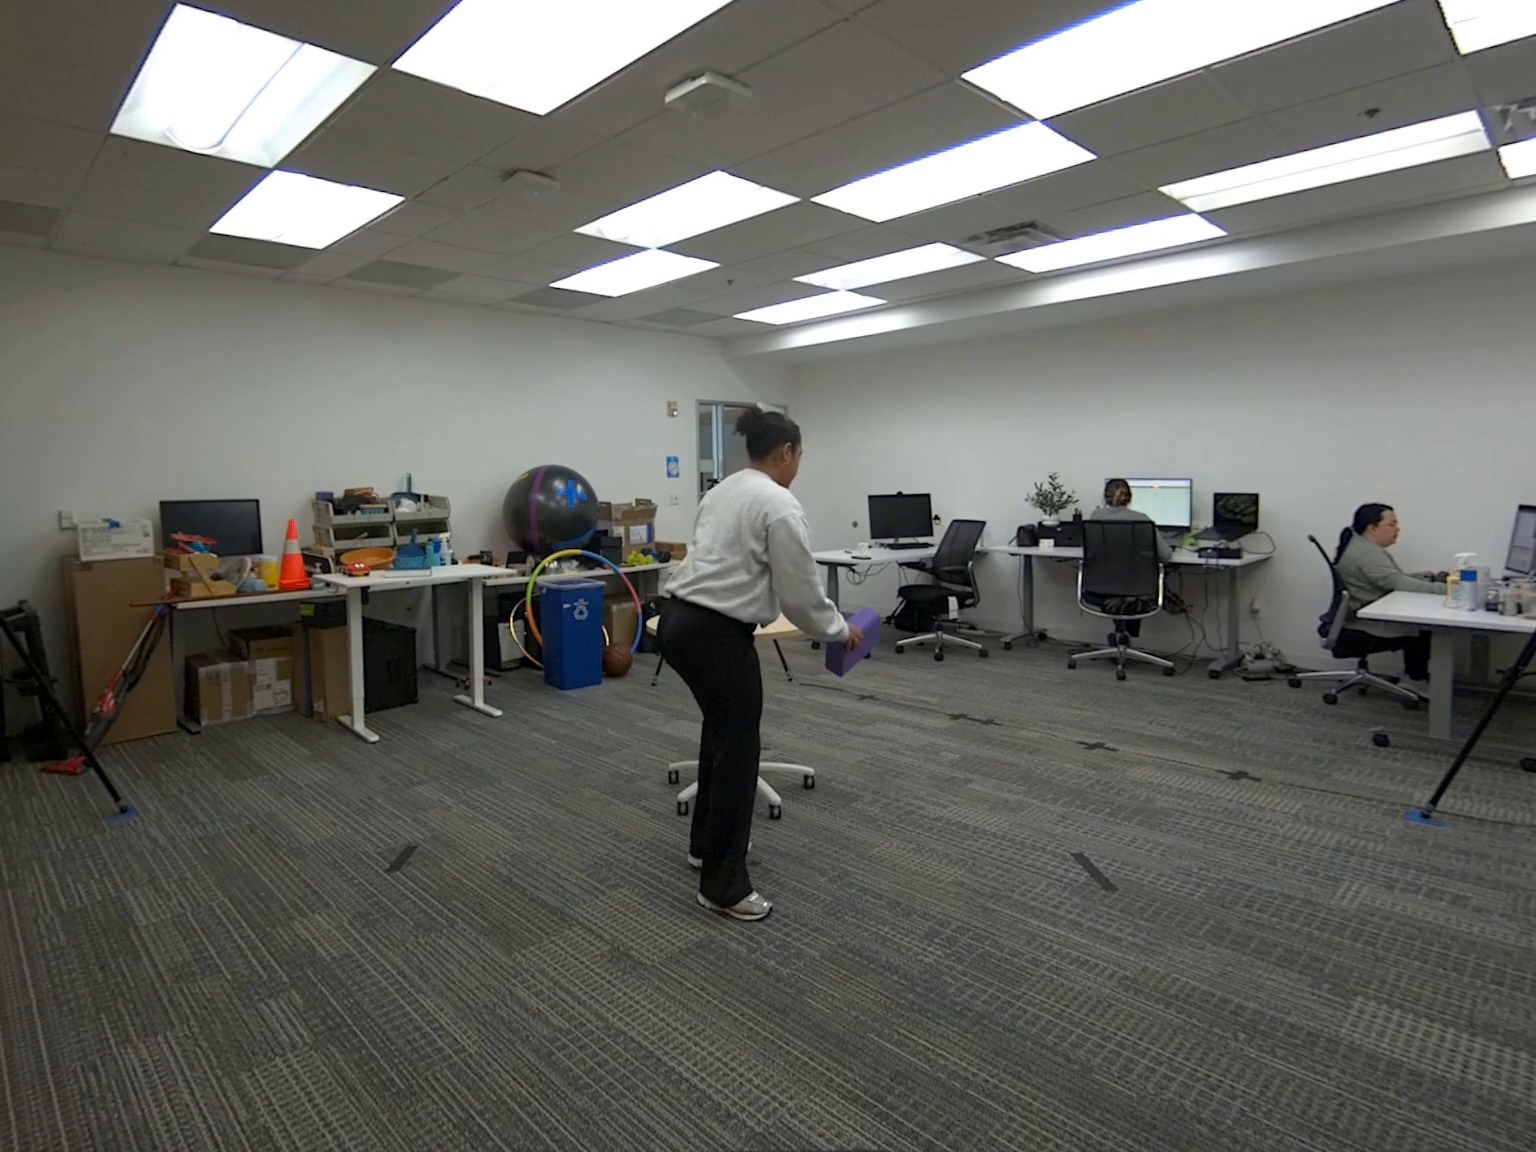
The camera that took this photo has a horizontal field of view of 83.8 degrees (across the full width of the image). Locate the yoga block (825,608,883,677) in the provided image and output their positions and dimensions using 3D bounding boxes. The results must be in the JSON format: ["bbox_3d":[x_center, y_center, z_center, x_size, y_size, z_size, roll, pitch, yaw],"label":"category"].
[{"bbox_3d":[0.286,0.232,2.968,0.079,0.145,0.228,27,49,31],"label":"yoga block"}]
